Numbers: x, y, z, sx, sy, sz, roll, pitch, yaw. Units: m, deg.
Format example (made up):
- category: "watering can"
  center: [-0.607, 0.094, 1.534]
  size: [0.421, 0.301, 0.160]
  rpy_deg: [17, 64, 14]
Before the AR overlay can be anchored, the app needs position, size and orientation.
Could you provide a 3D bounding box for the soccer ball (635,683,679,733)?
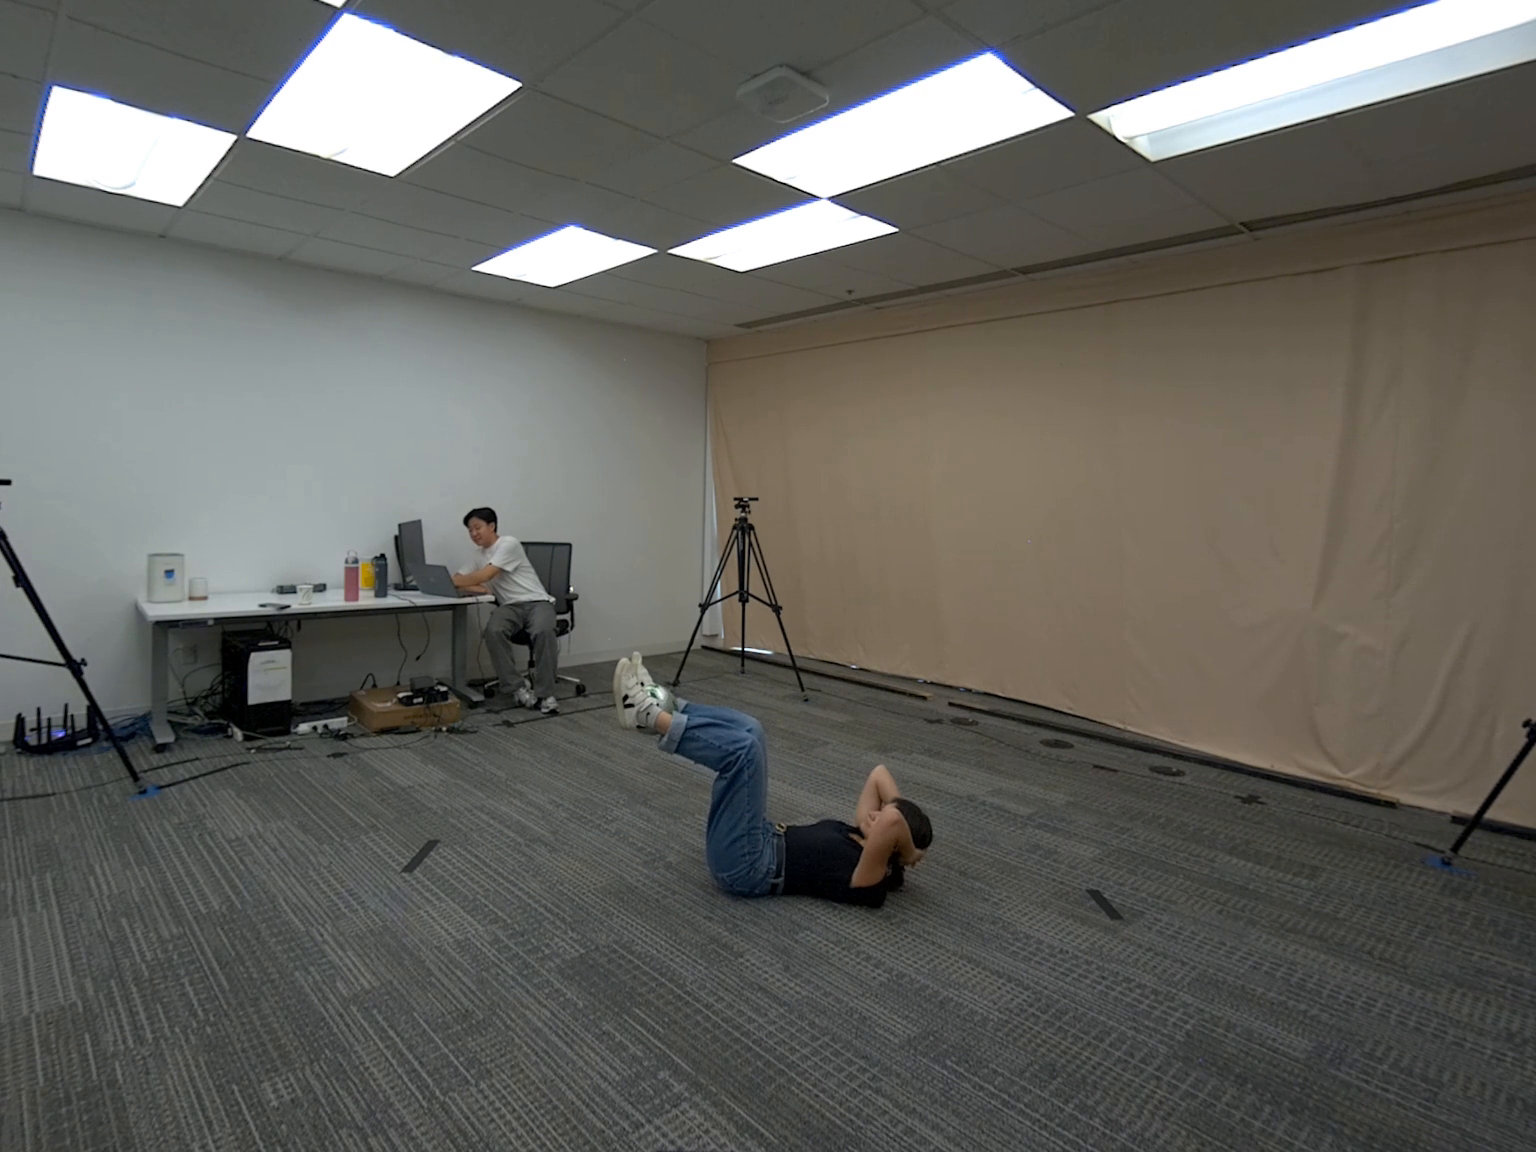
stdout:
- category: "soccer ball"
  center: [-0.440, 0.505, 3.107]
  size: [0.187, 0.186, 0.188]
  rpy_deg: [1, 7, -1]
